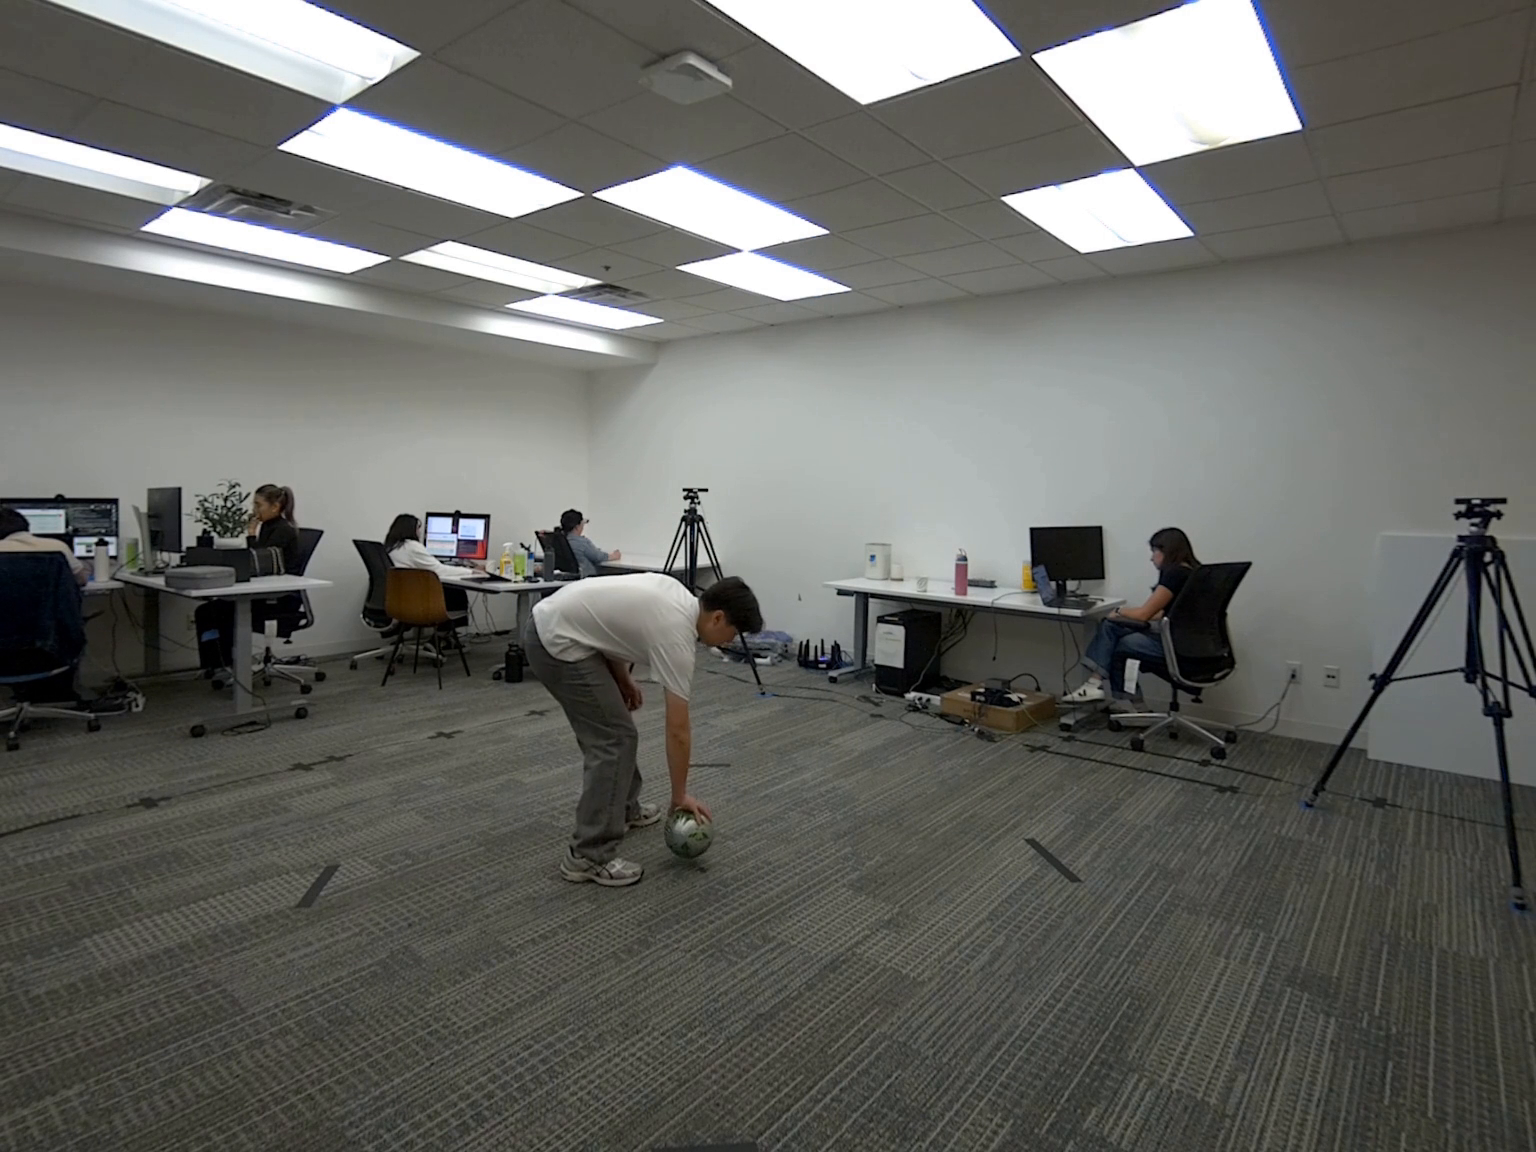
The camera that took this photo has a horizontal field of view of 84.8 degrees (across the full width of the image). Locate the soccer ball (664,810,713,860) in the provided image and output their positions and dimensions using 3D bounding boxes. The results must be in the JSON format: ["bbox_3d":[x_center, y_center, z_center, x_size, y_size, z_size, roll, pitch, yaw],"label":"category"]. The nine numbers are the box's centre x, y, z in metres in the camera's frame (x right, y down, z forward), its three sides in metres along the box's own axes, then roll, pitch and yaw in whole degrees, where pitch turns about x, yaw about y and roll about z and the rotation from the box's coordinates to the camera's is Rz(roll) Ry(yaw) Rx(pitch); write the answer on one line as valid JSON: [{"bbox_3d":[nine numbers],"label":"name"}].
[{"bbox_3d":[-0.286,0.927,3.149,0.187,0.187,0.188,1,4,-2],"label":"soccer ball"}]
